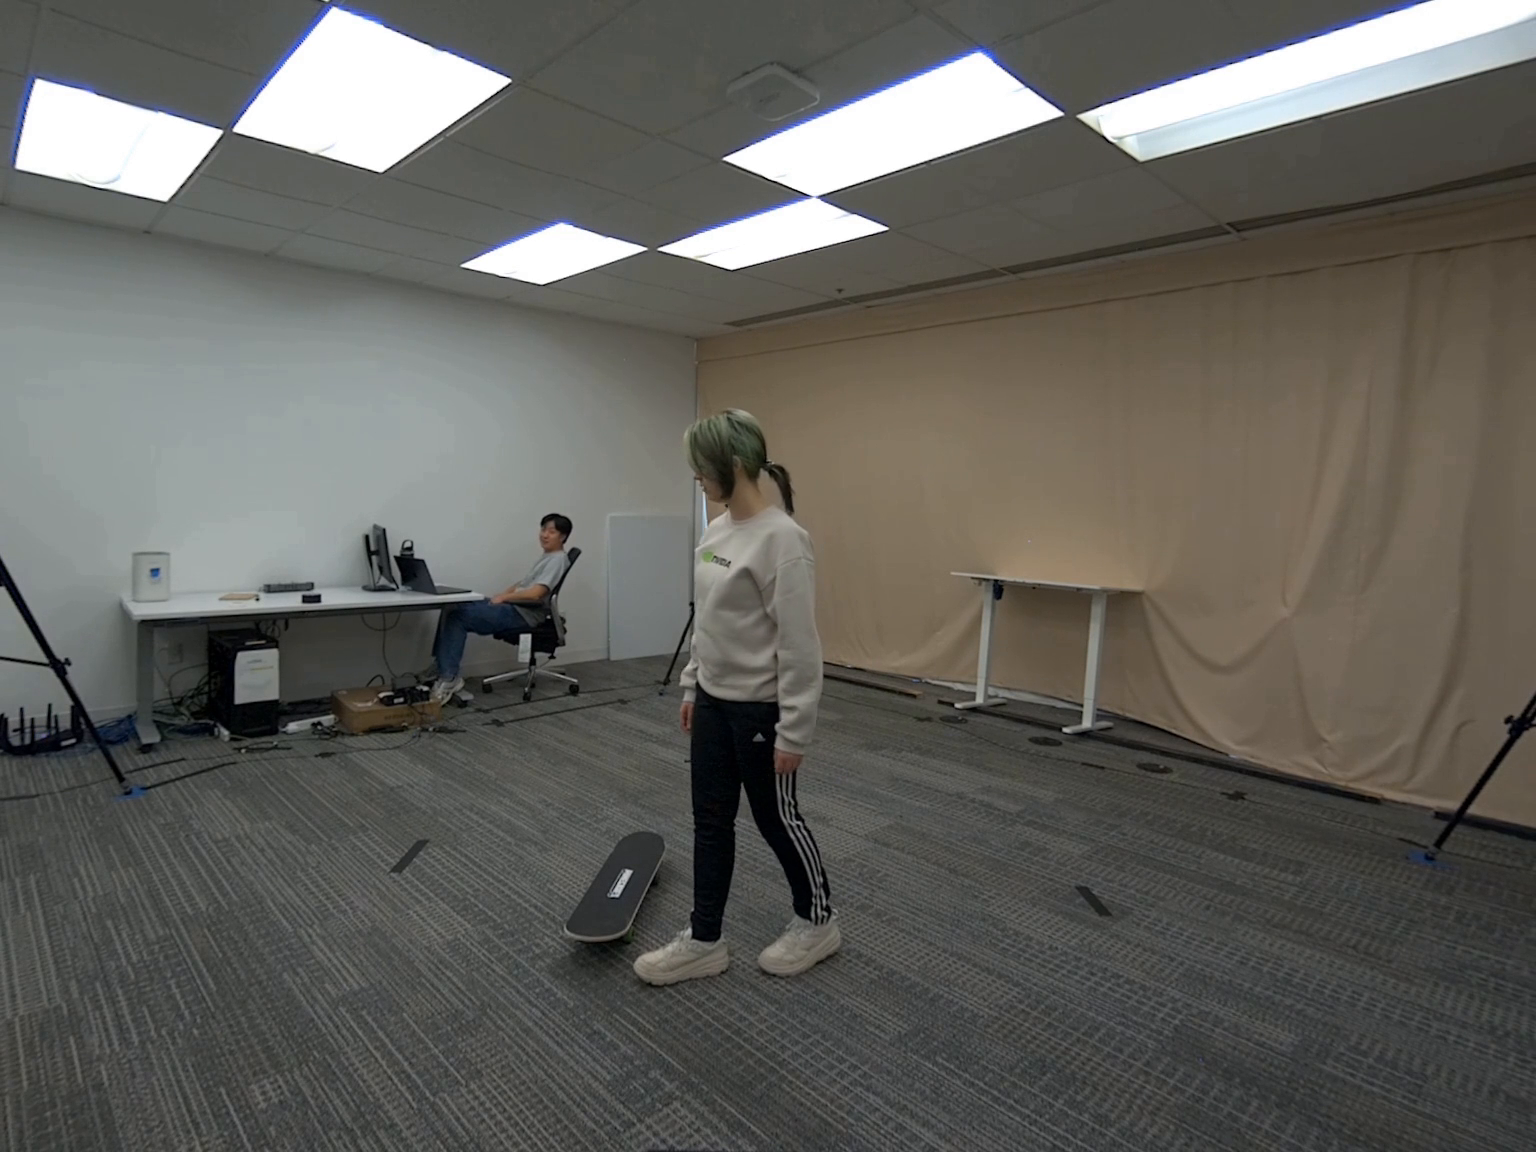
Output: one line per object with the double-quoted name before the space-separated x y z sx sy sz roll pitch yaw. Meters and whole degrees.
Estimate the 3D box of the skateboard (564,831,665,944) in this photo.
"skateboard" -0.505 1.063 2.827 0.194 0.110 0.784 1 5 5
